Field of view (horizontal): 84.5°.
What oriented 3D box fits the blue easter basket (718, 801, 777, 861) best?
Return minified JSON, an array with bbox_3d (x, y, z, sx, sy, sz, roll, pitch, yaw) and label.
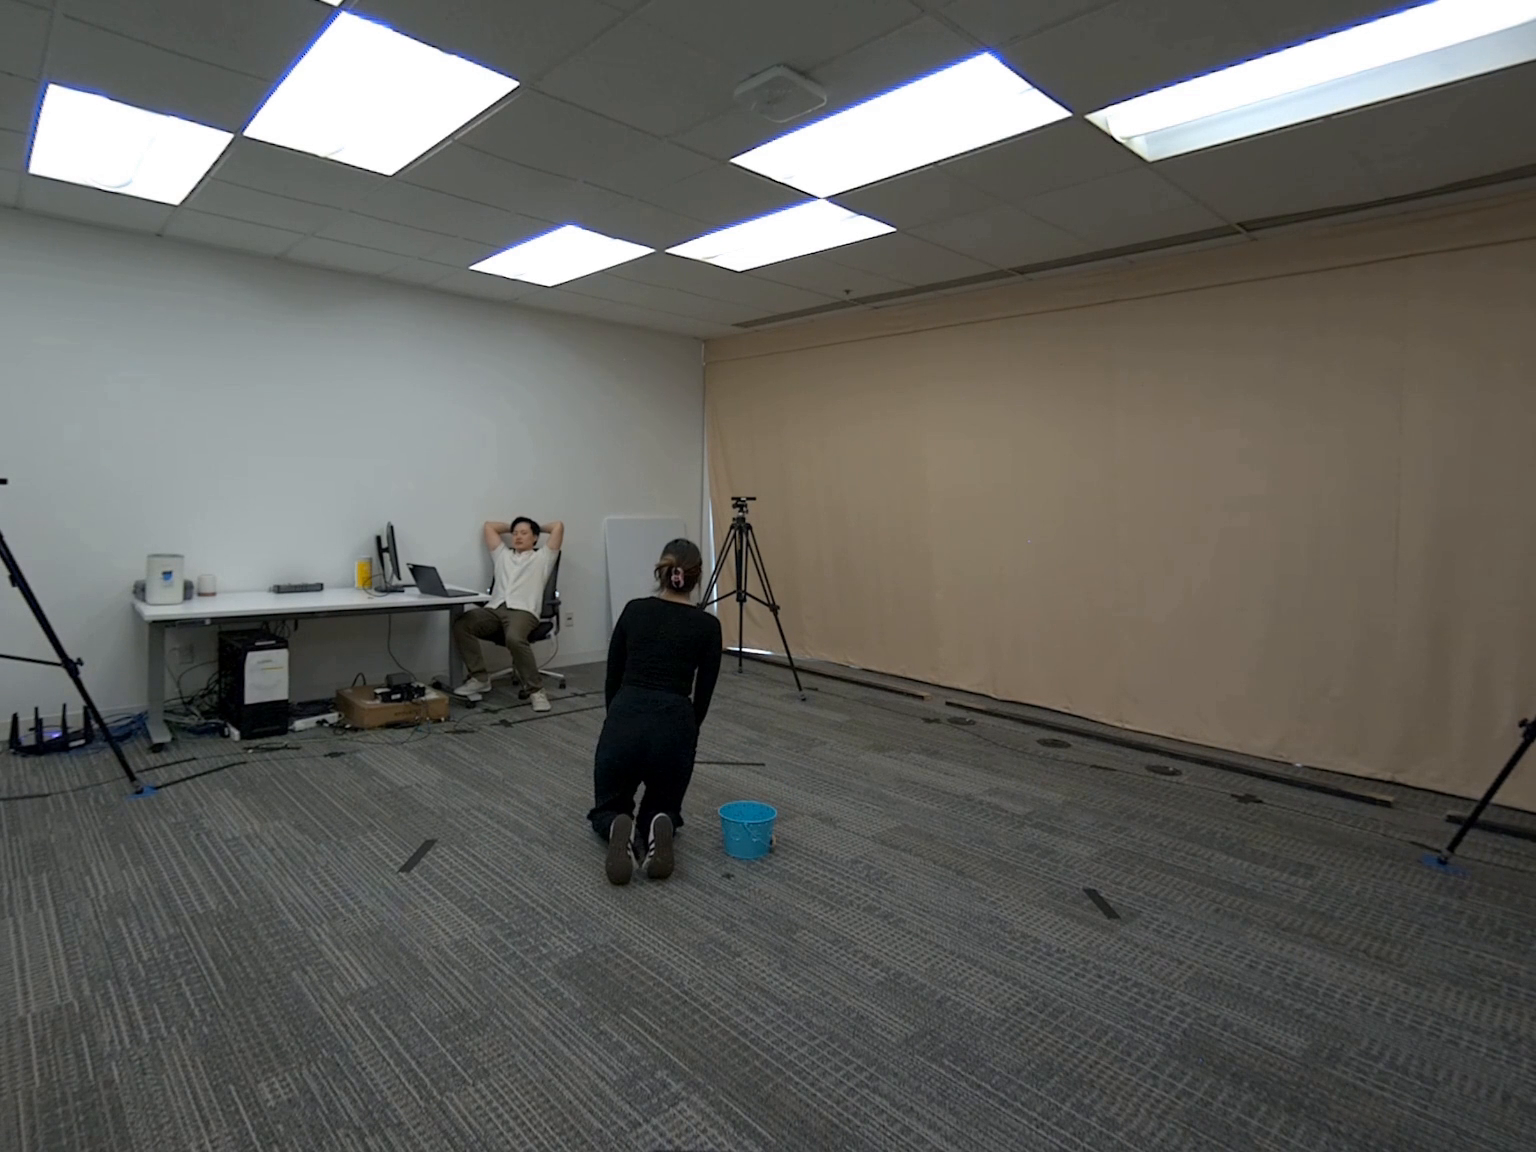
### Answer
[{"bbox_3d":[-0.090,1.010,3.338,0.243,0.155,0.244,1,4,-1],"label":"blue easter basket"}]
